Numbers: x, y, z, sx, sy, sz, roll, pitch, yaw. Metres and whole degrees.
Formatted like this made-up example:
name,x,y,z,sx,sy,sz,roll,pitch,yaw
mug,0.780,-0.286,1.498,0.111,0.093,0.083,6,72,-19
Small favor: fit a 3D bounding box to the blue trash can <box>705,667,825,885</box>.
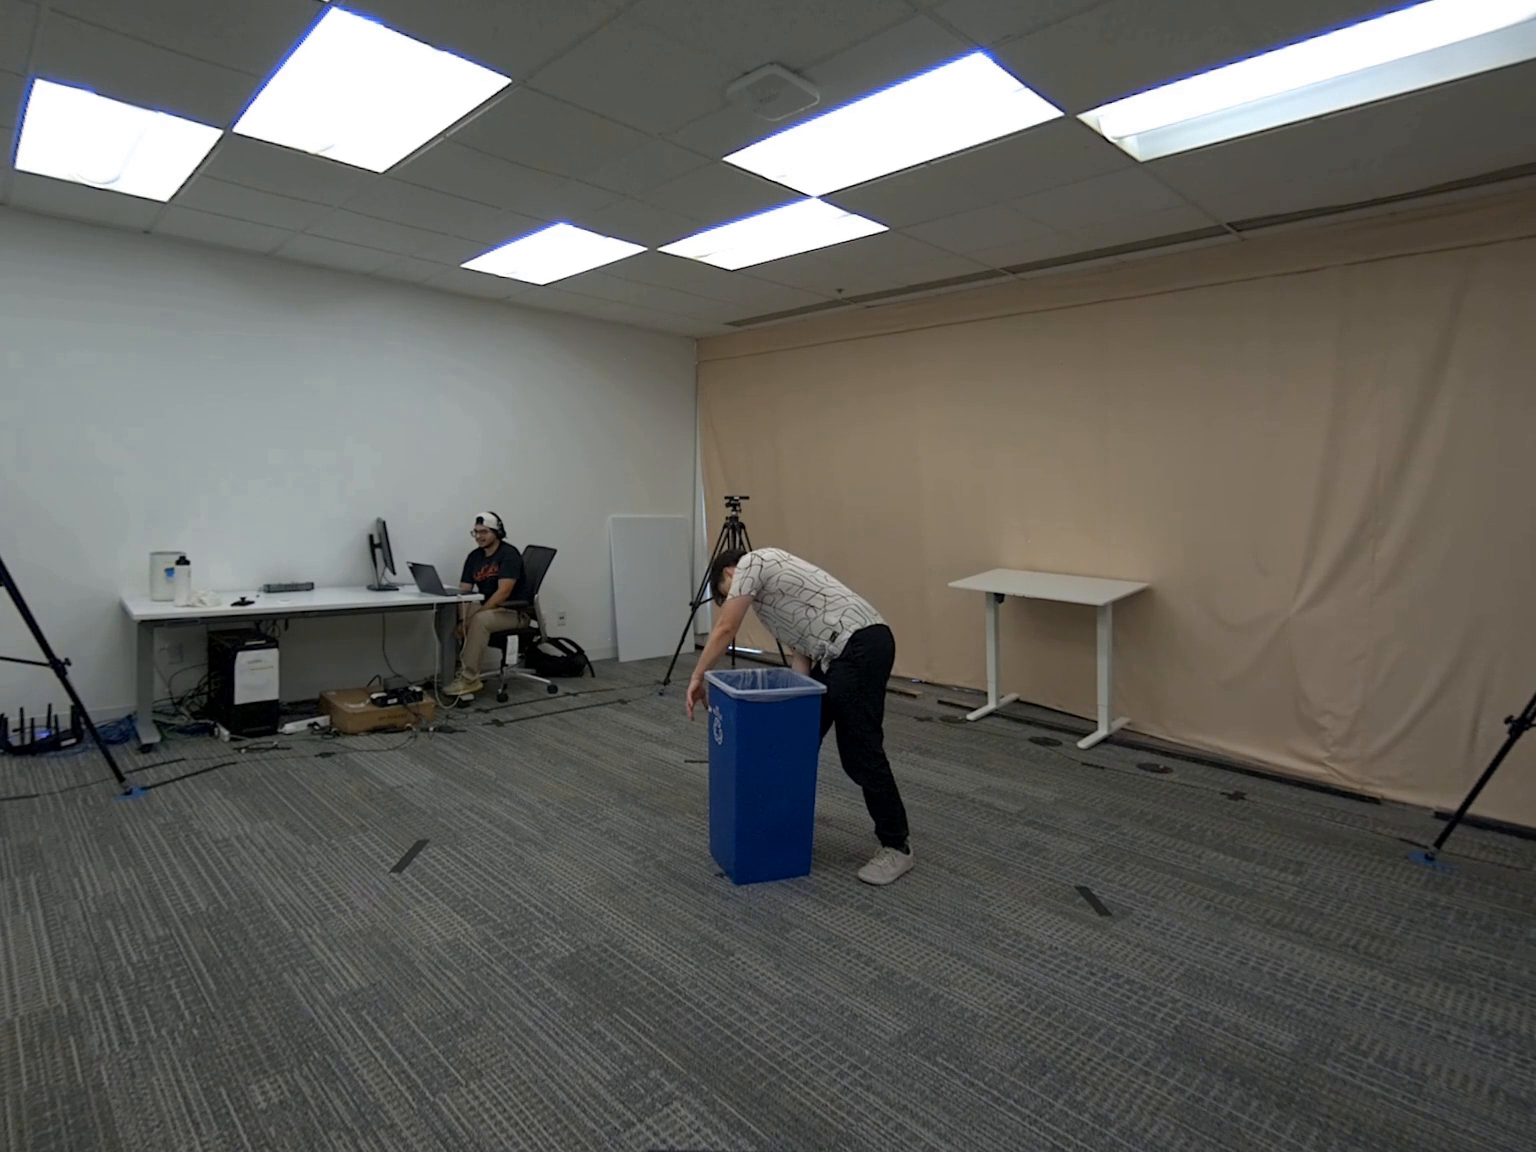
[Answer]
name,x,y,z,sx,sy,sz,roll,pitch,yaw
blue trash can,-0.037,0.743,3.178,0.368,0.712,0.385,0,4,-23
